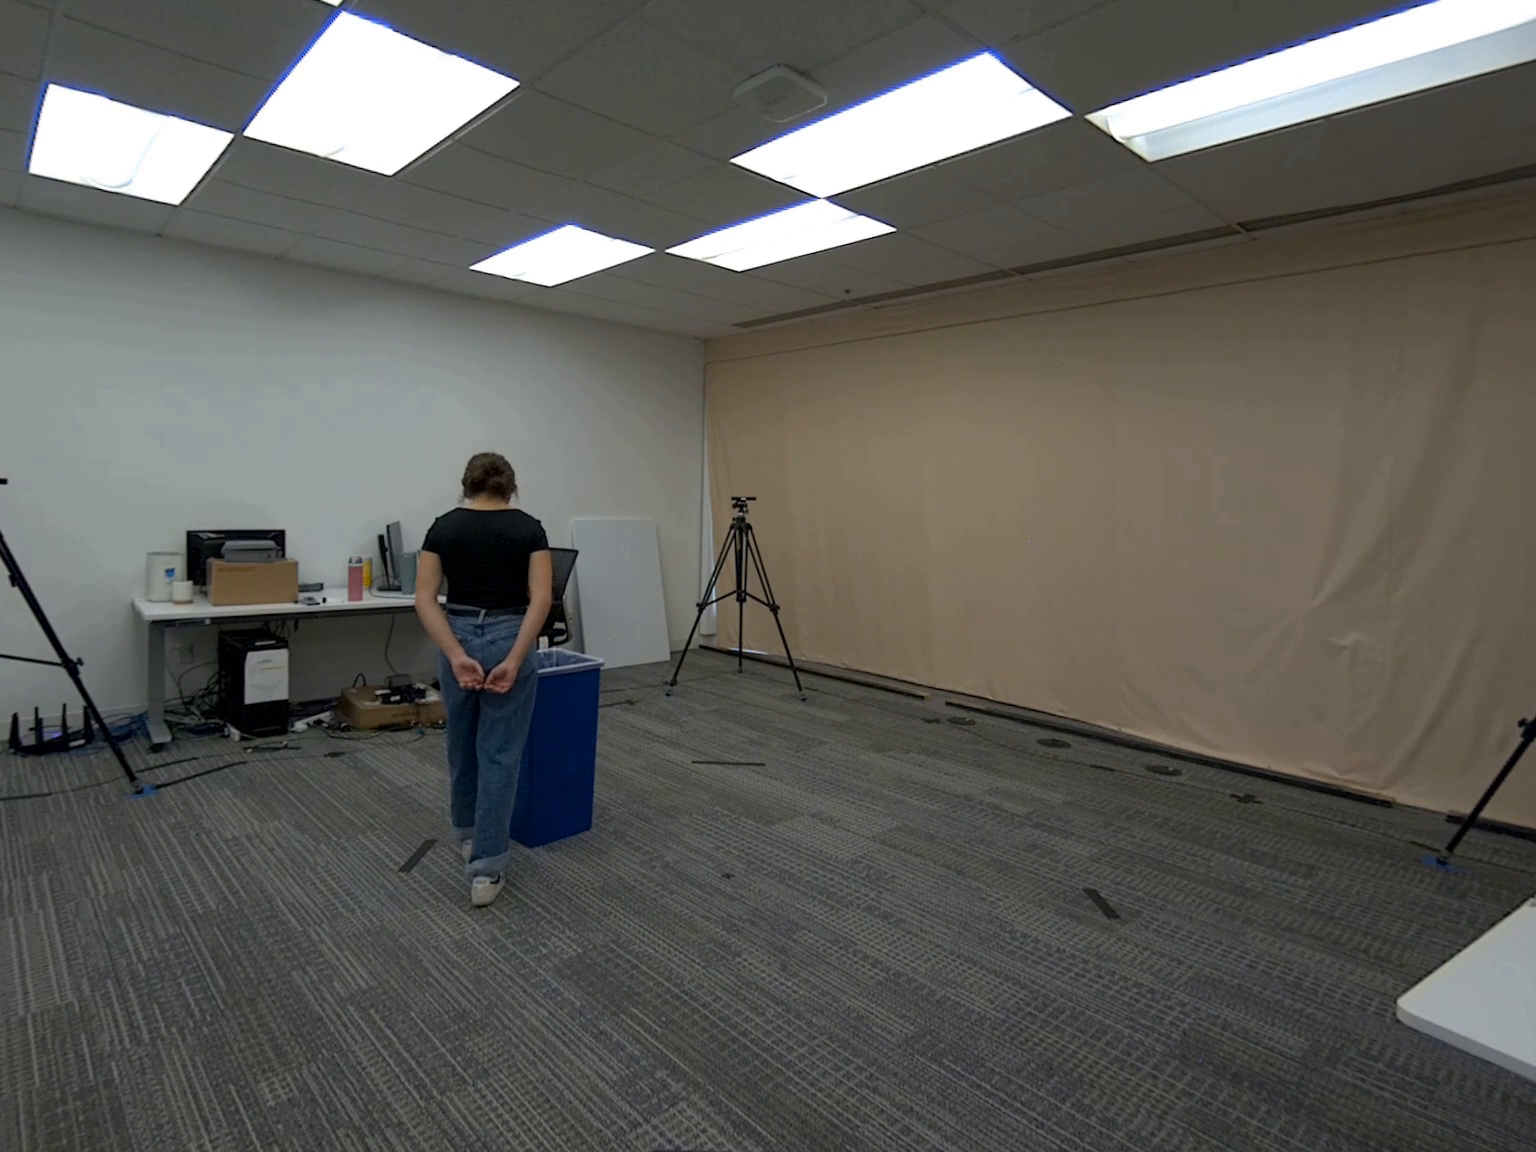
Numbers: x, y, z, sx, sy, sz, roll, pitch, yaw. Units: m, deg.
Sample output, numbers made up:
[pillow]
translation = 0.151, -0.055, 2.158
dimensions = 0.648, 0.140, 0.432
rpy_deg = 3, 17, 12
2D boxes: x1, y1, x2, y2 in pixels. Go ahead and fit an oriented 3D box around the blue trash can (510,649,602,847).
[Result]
[blue trash can]
translation = -0.938, 0.696, 3.502
dimensions = 0.388, 0.711, 0.365
rpy_deg = 5, 6, 42
